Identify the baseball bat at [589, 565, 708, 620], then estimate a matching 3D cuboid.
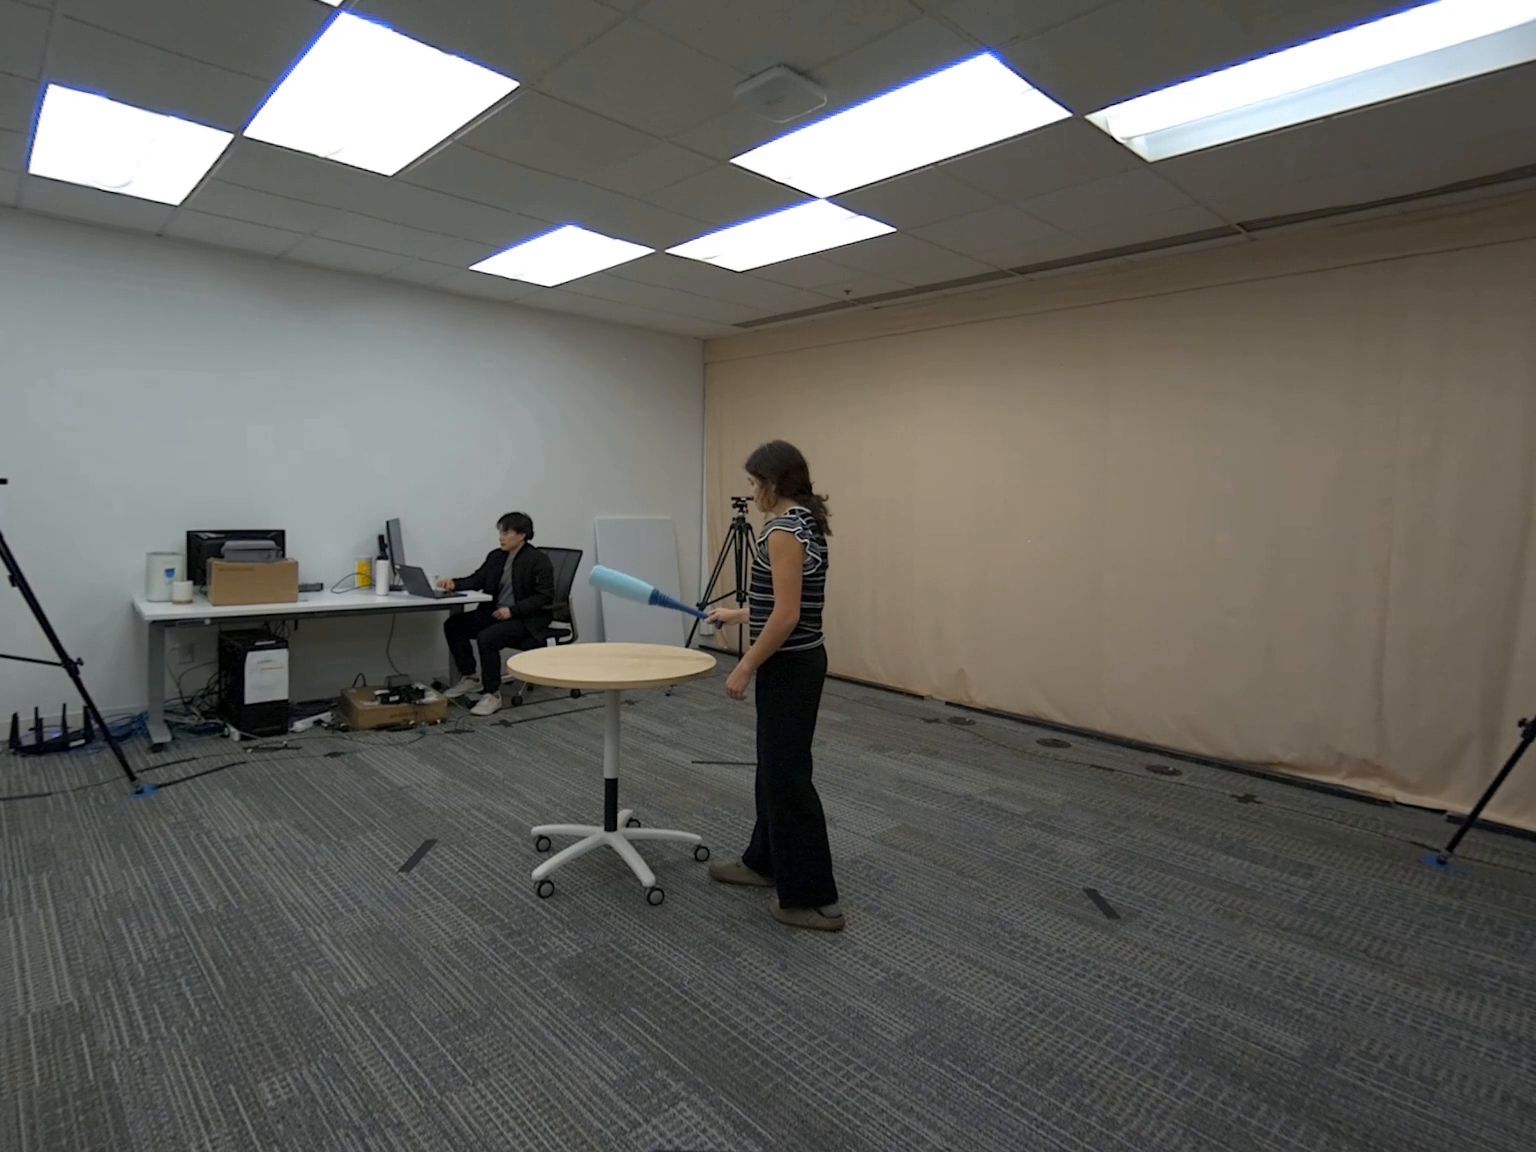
[{"bbox_3d":[-0.424,0.089,3.195,0.547,0.089,0.088,21,7,8],"label":"baseball bat"}]
